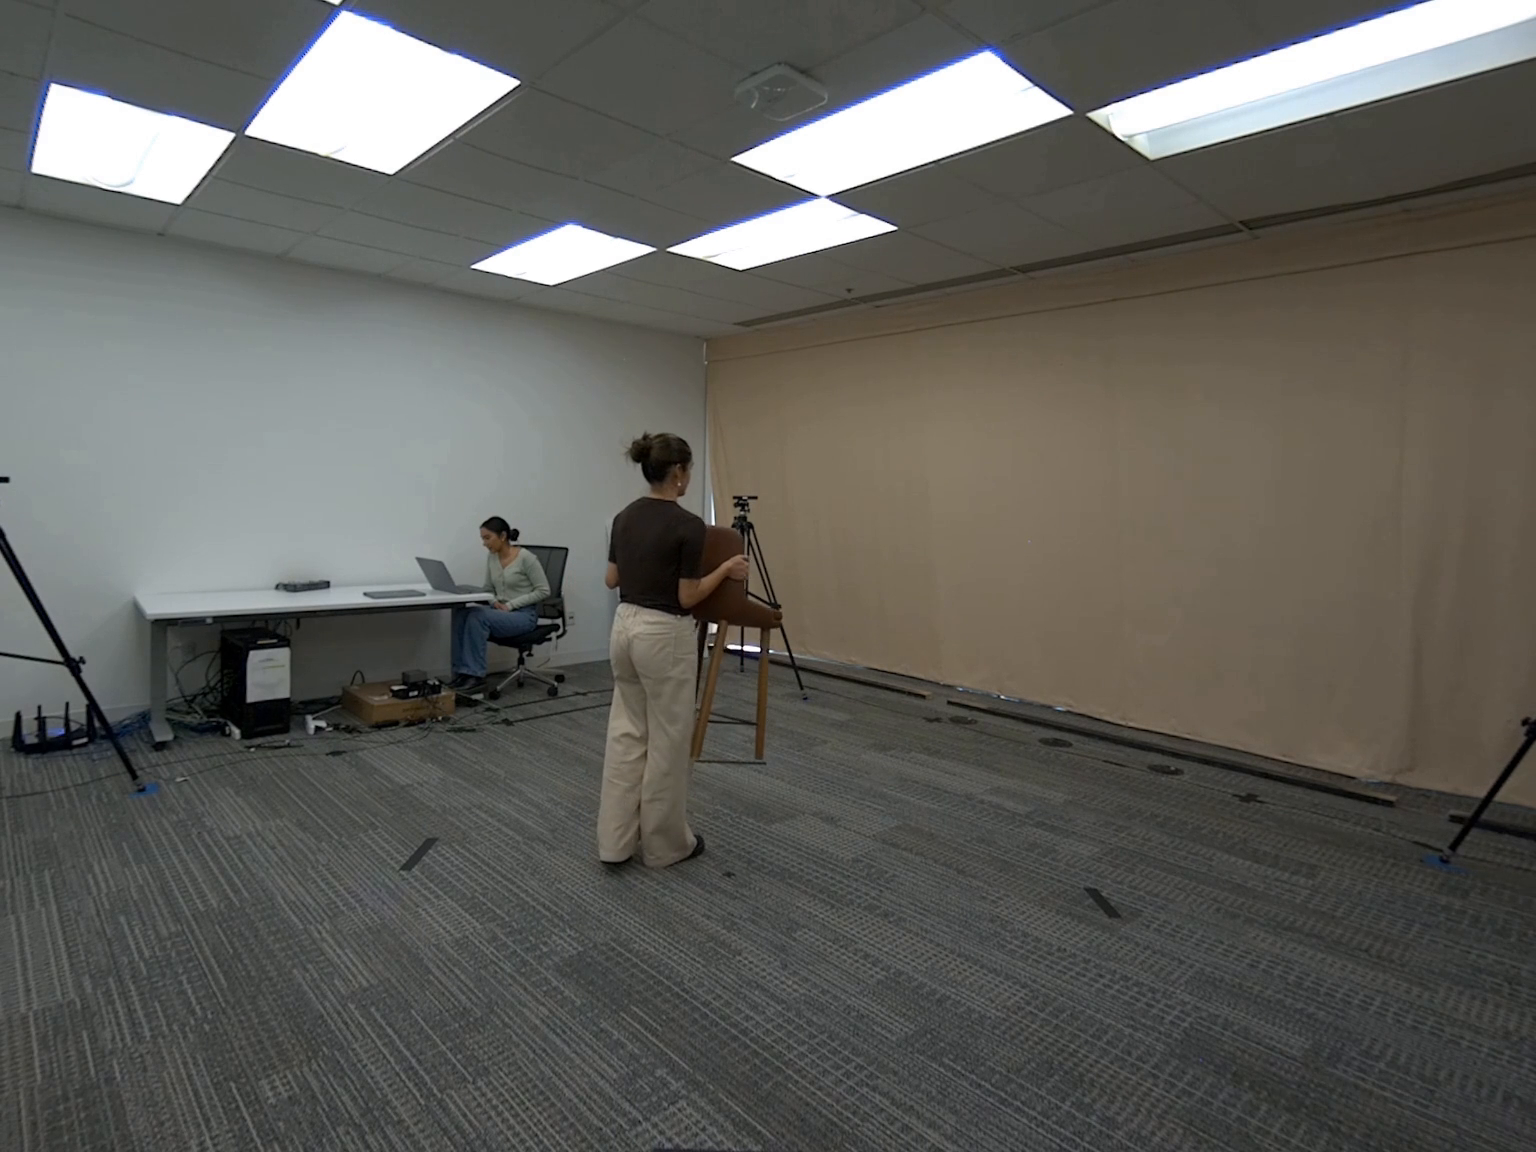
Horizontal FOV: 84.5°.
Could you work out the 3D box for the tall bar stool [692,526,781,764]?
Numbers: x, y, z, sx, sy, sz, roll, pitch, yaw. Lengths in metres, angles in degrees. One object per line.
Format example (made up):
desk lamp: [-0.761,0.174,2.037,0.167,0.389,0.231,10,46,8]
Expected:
tall bar stool: [-0.241,0.271,3.423,0.467,0.893,0.455,5,-6,35]
